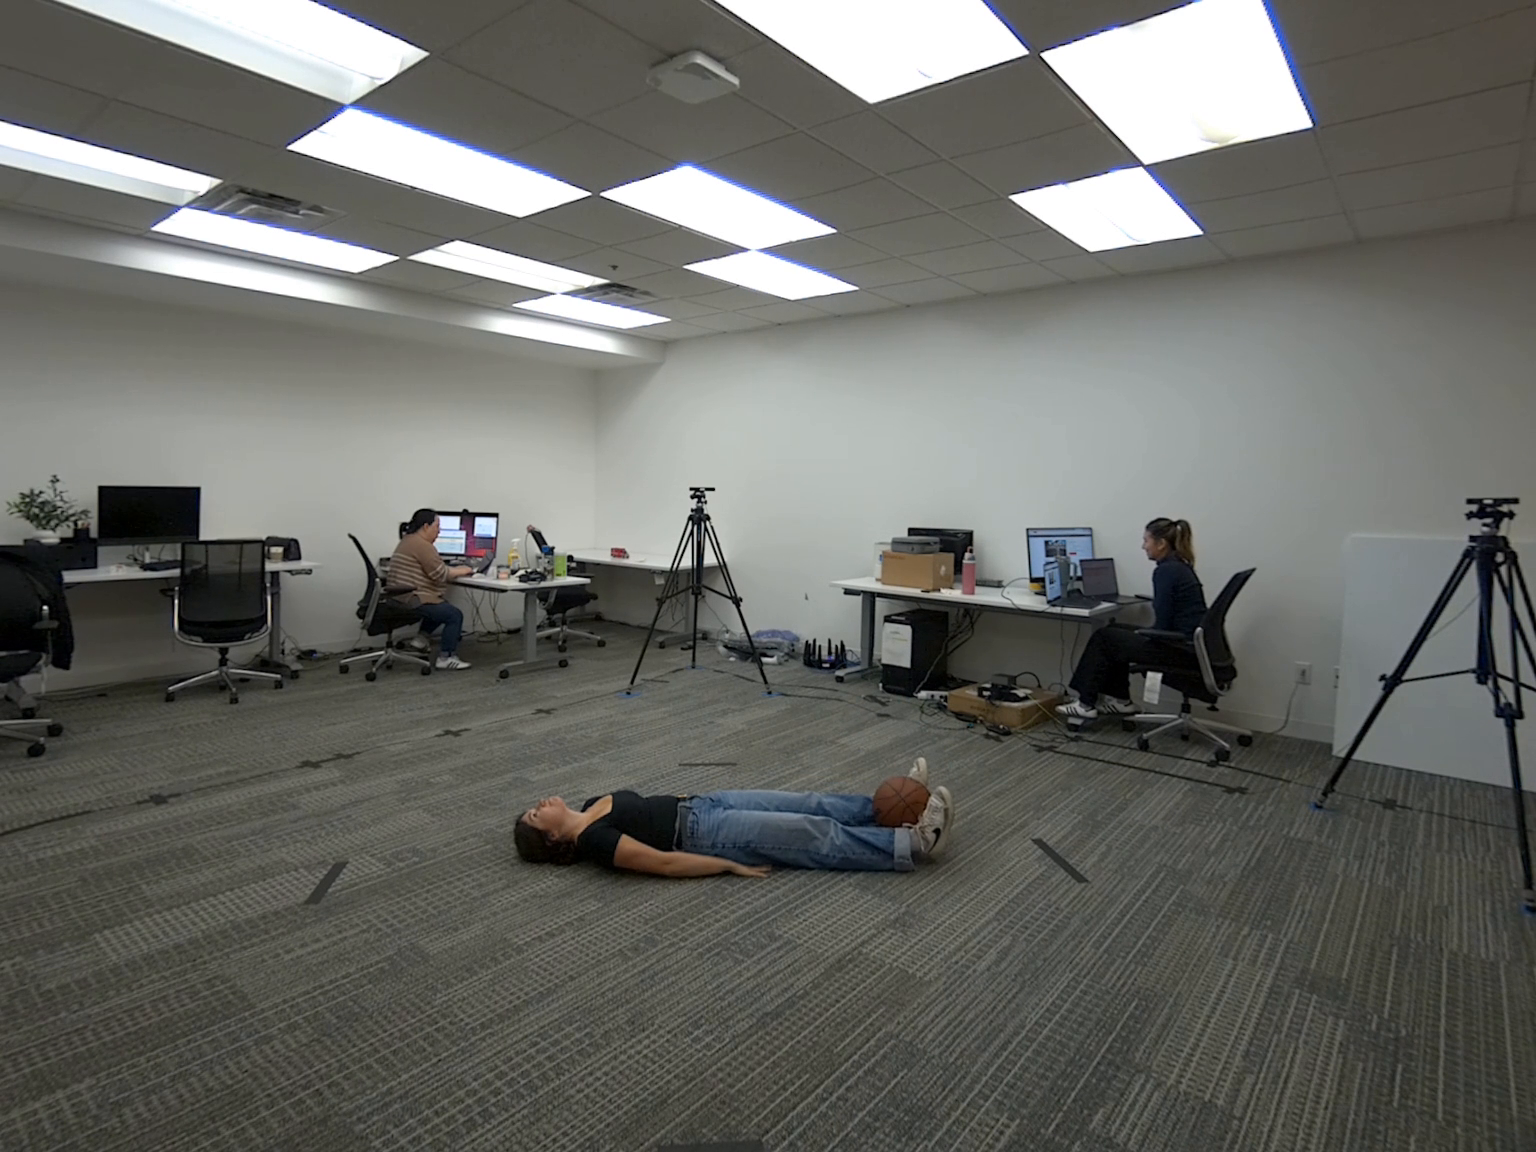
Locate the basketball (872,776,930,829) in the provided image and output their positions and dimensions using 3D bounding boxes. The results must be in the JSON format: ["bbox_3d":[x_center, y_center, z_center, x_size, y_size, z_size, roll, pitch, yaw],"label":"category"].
[{"bbox_3d":[0.519,0.893,3.323,0.235,0.235,0.237,1,4,-2],"label":"basketball"}]
